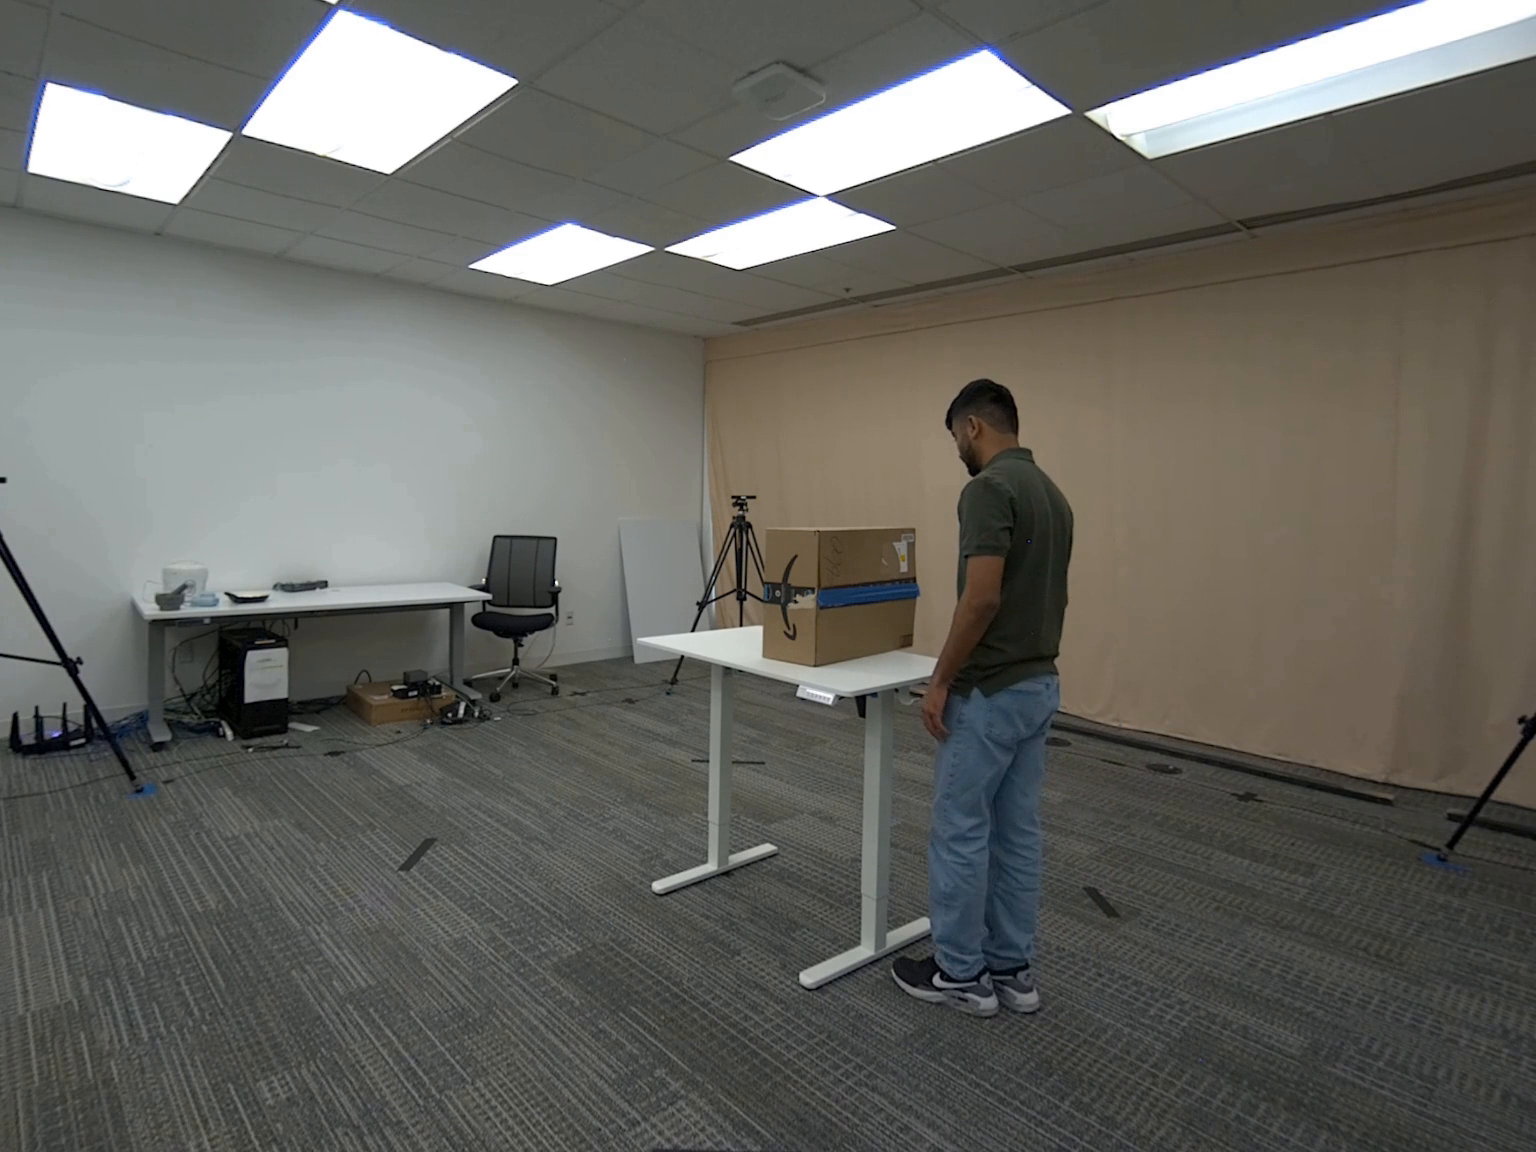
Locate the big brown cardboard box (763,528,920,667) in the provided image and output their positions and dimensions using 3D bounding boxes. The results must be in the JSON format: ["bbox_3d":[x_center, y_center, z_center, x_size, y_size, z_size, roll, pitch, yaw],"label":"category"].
[{"bbox_3d":[0.250,0.051,2.813,0.239,0.417,0.576,3,4,43],"label":"big brown cardboard box"}]
